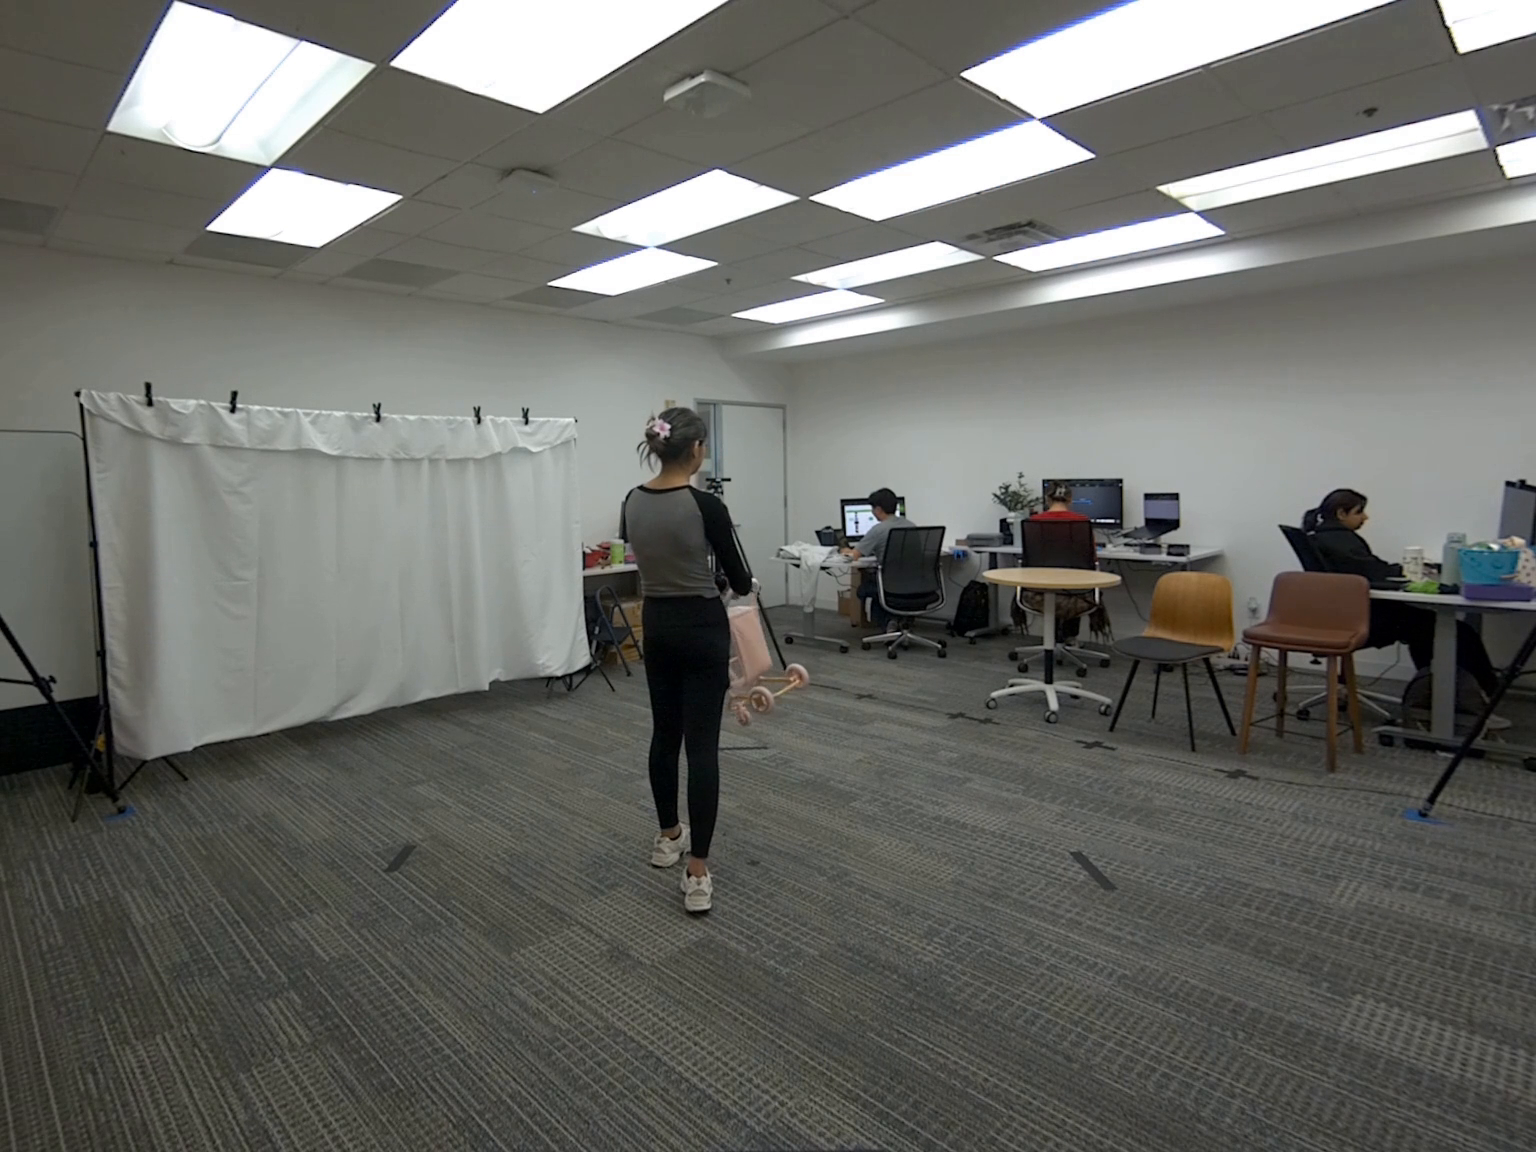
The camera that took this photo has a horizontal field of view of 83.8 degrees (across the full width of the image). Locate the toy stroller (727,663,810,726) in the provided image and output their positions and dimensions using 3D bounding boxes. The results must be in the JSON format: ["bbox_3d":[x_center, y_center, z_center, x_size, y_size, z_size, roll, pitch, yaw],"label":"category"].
[{"bbox_3d":[-0.091,0.323,3.363,0.346,0.536,0.277,-24,-2,44],"label":"toy stroller"}]
